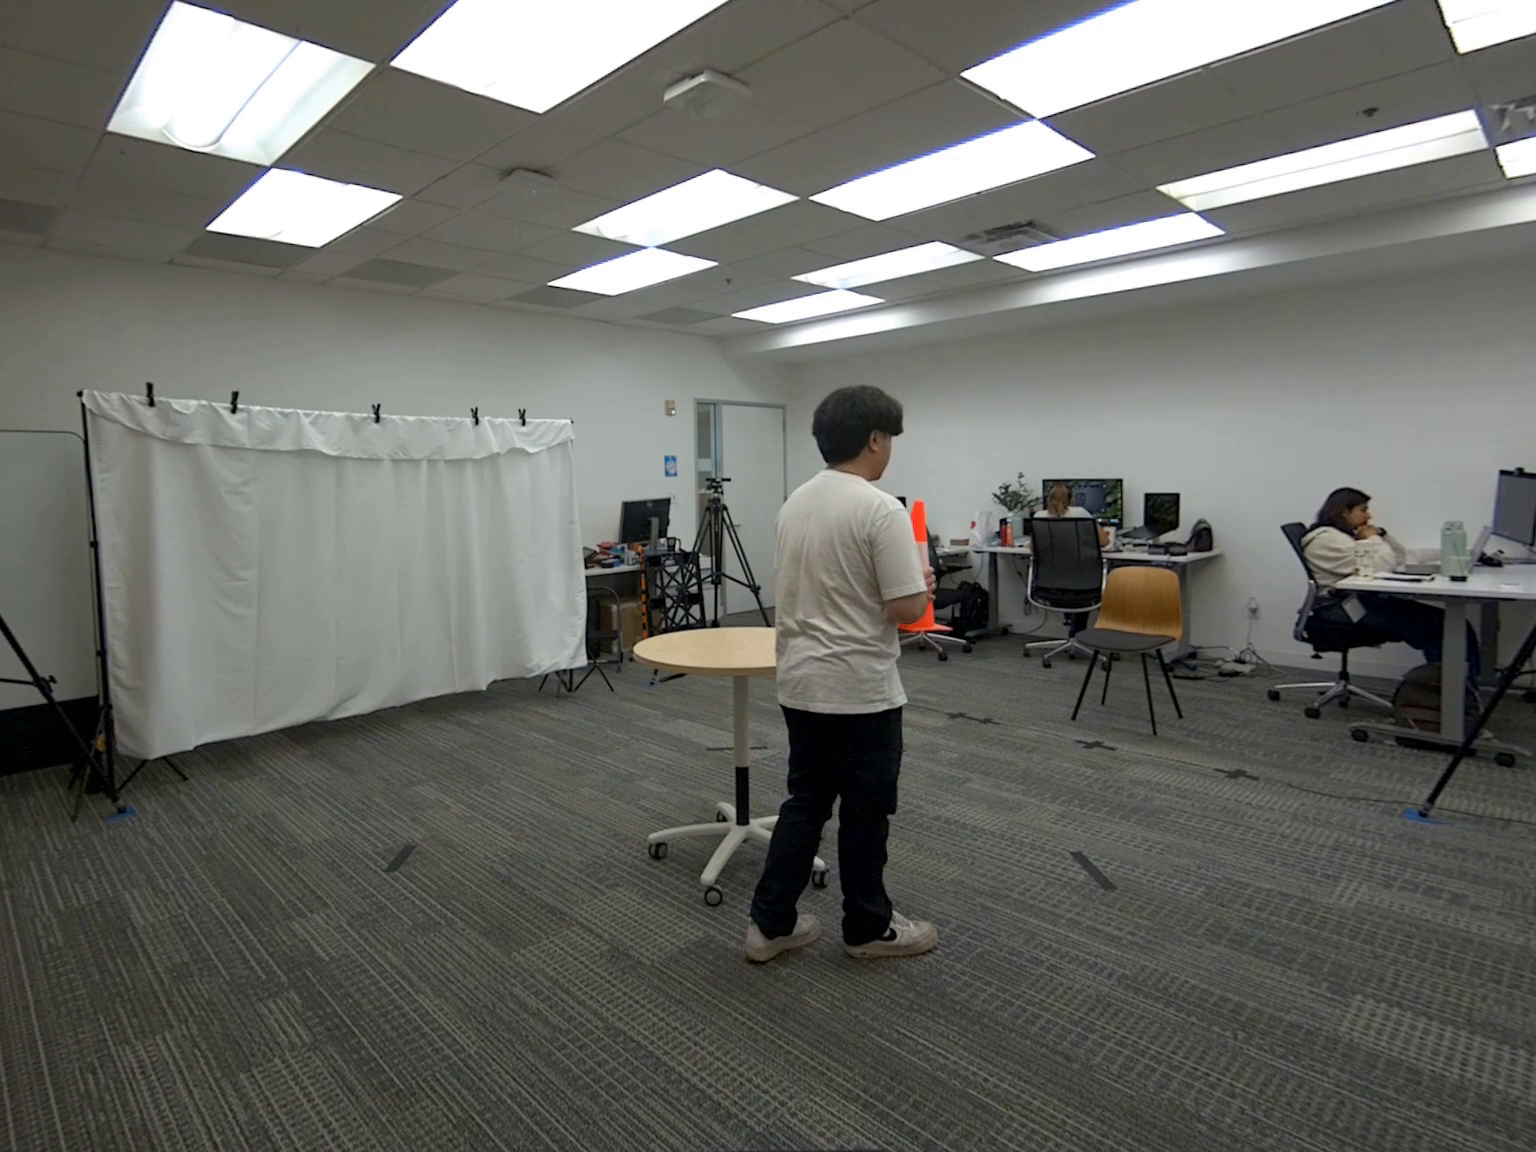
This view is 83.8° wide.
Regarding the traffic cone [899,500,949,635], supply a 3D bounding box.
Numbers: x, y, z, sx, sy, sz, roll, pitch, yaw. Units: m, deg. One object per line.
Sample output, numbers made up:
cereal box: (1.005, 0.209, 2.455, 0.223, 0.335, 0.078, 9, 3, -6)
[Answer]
traffic cone: (0.442, -0.043, 2.615, 0.211, 0.383, 0.197, 5, 1, 39)
